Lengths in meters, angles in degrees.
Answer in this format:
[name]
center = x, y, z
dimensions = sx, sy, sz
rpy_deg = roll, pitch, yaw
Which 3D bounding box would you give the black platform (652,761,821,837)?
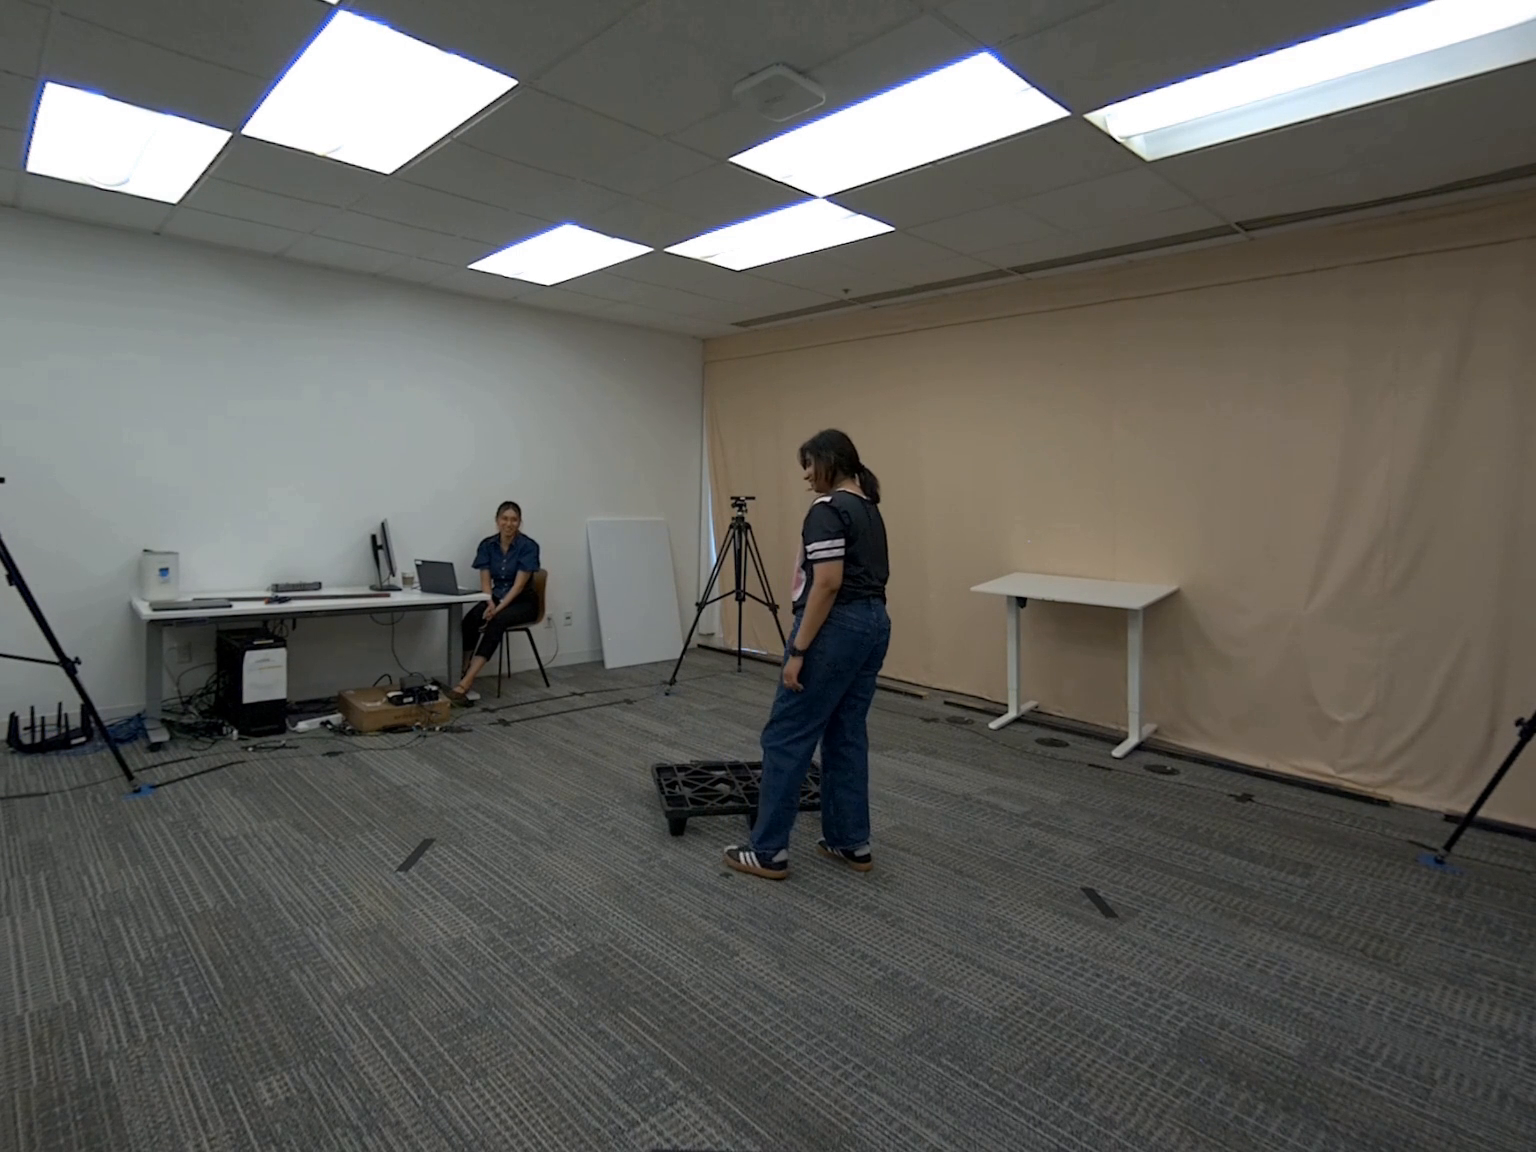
[black platform]
center = -0.107, 0.983, 3.752
dimensions = 0.798, 0.143, 0.612
rpy_deg = 1, 4, -12
